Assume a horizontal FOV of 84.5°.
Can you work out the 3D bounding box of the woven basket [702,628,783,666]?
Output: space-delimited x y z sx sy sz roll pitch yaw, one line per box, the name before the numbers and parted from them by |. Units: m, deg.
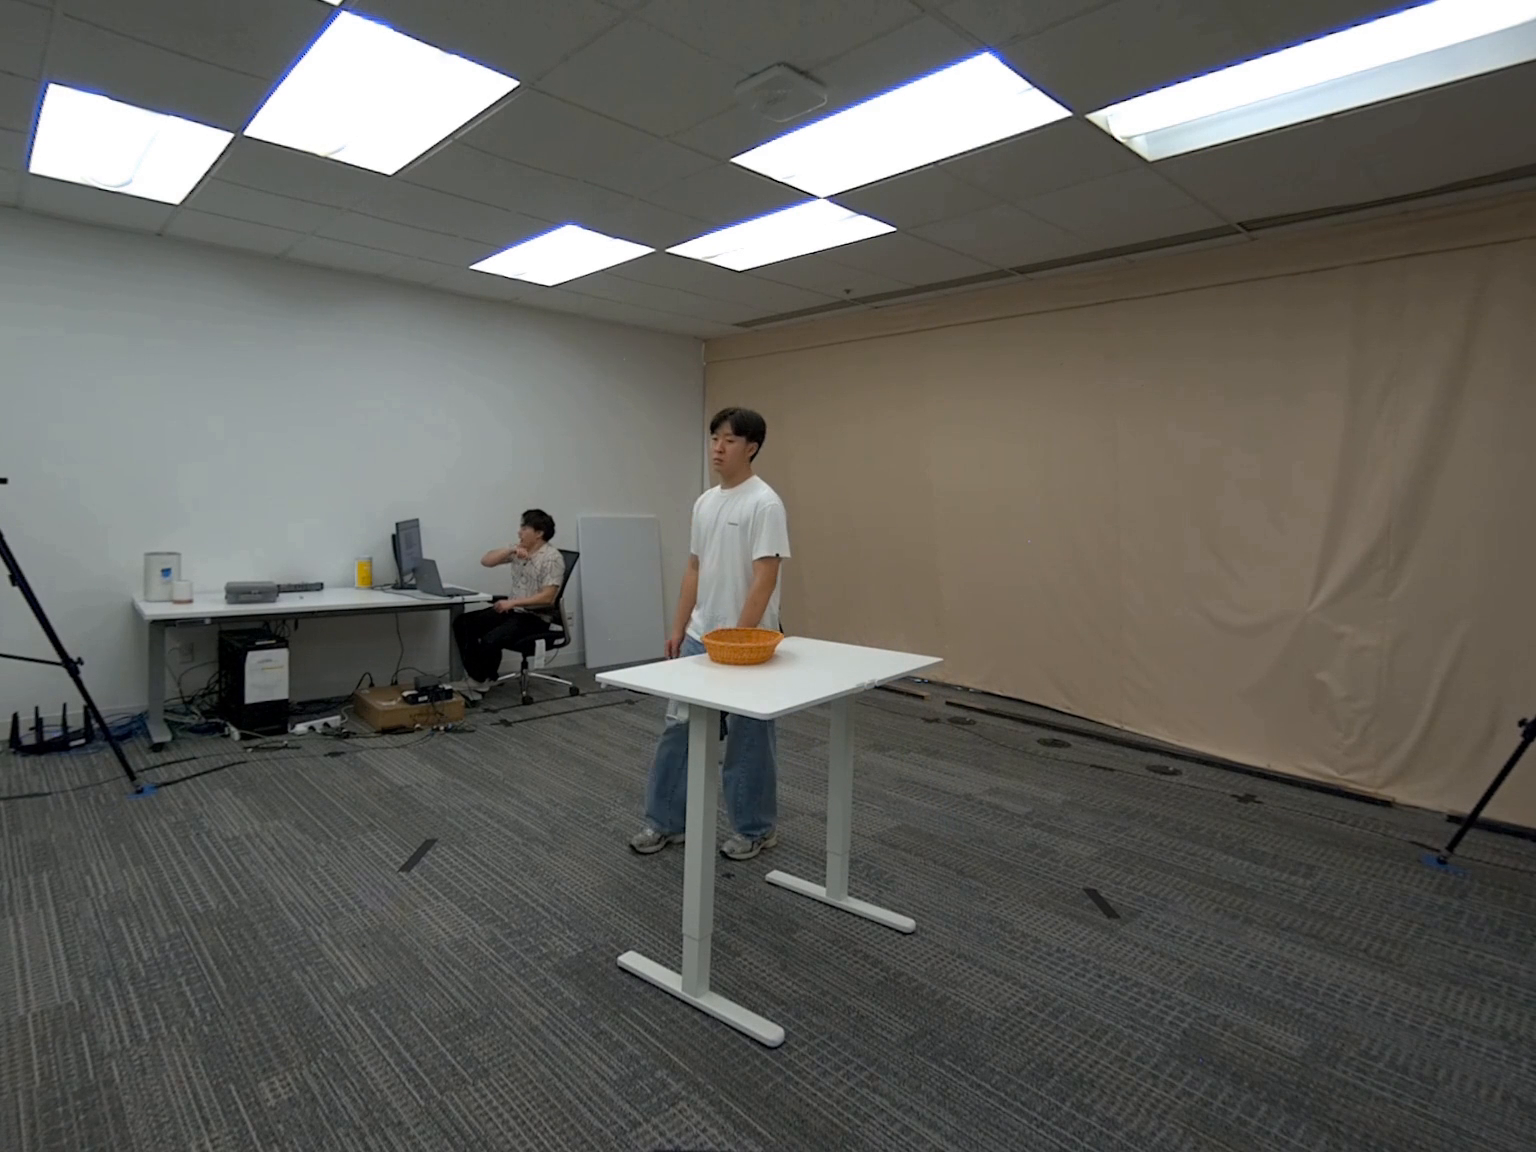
woven basket | -0.094 0.233 2.692 0.256 0.073 0.346 4 5 18
